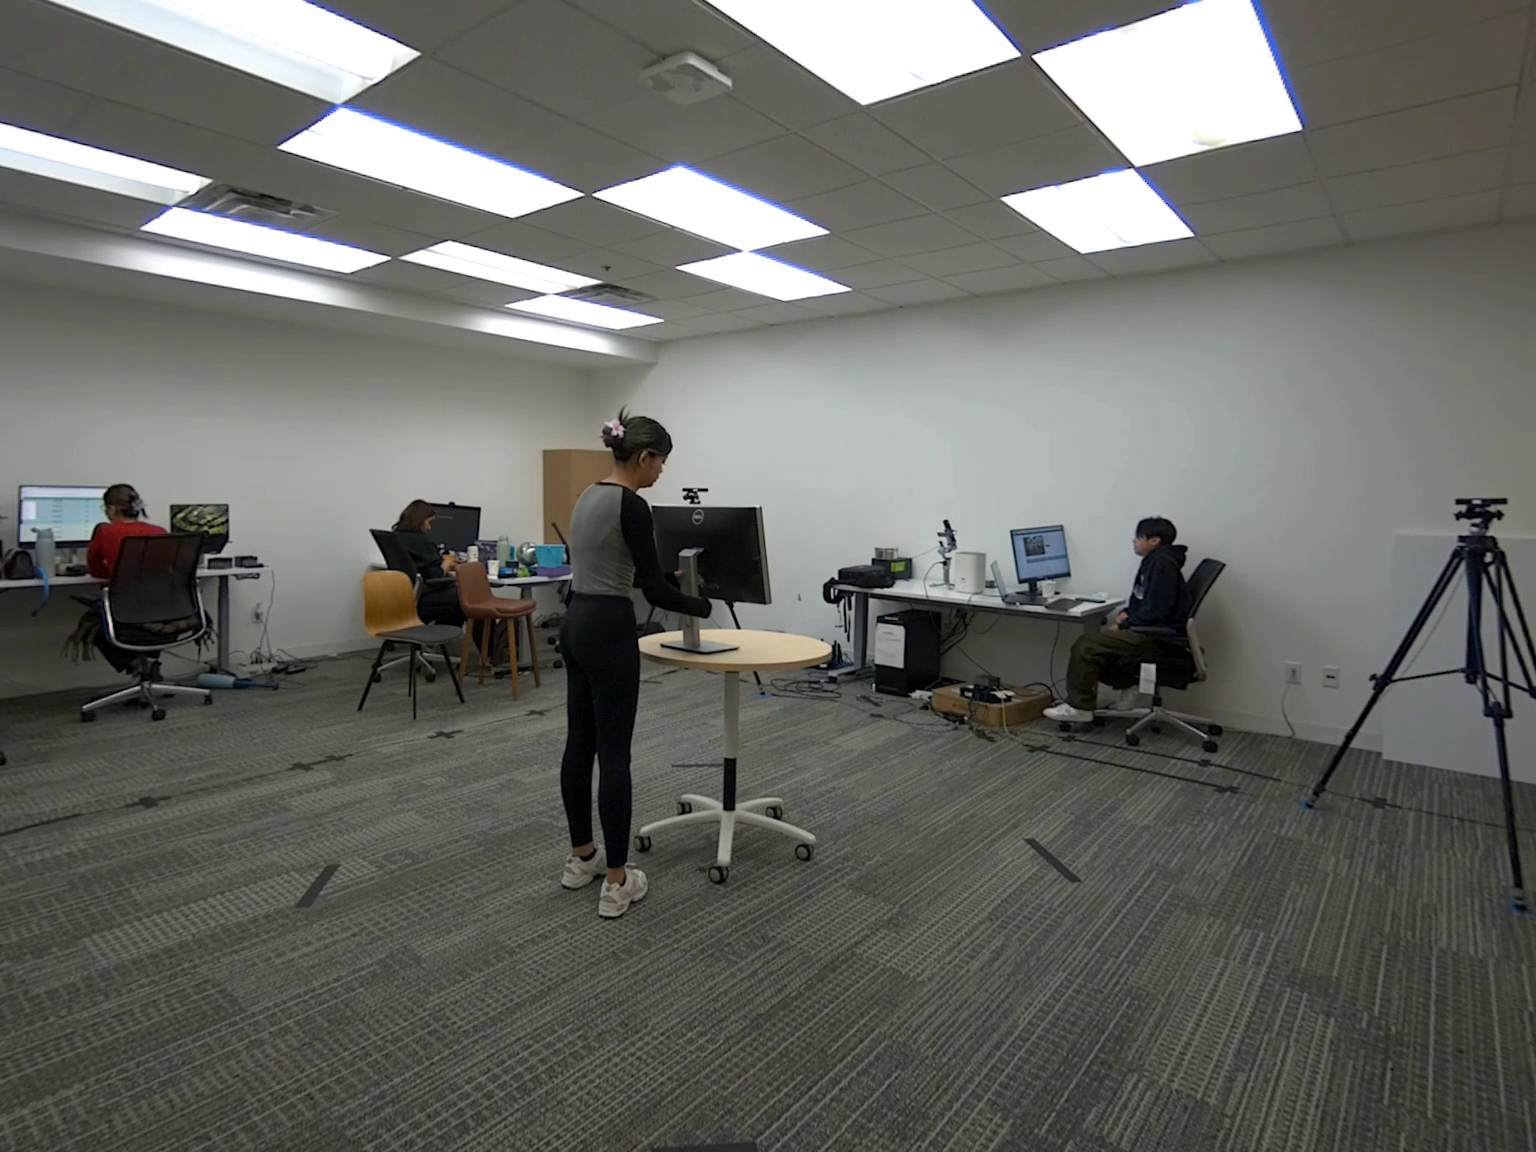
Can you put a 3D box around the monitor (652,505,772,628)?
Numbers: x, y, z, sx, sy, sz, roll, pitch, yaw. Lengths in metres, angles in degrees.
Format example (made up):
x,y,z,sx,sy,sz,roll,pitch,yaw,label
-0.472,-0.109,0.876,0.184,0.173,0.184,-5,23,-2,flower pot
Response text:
x,y,z,sx,sy,sz,roll,pitch,yaw,label
-0.264,0.005,3.202,0.557,0.522,0.181,4,2,39,monitor
